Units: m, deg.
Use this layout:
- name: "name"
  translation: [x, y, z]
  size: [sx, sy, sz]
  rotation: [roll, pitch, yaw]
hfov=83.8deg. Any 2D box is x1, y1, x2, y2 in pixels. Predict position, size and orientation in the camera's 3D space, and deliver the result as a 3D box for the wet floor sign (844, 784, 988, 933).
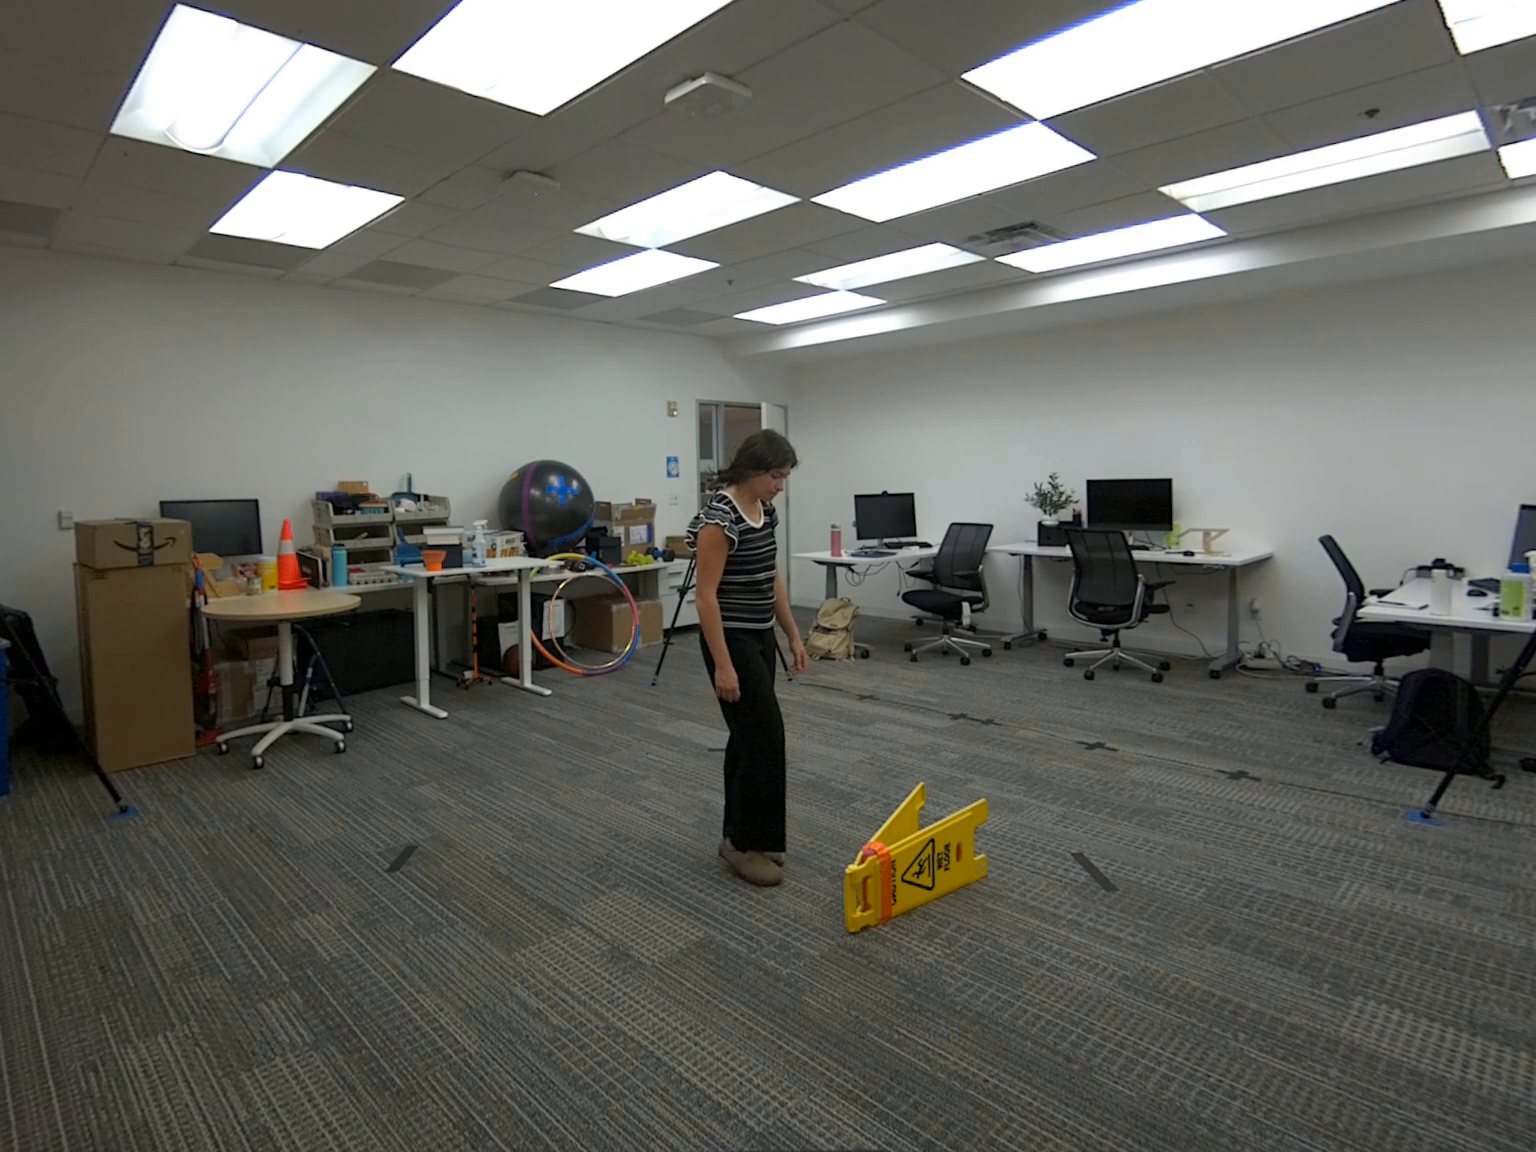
- name: "wet floor sign"
  translation: [0.459, 0.944, 2.821]
  size: [0.299, 0.280, 0.631]
  rotation: [4, 11, 40]
